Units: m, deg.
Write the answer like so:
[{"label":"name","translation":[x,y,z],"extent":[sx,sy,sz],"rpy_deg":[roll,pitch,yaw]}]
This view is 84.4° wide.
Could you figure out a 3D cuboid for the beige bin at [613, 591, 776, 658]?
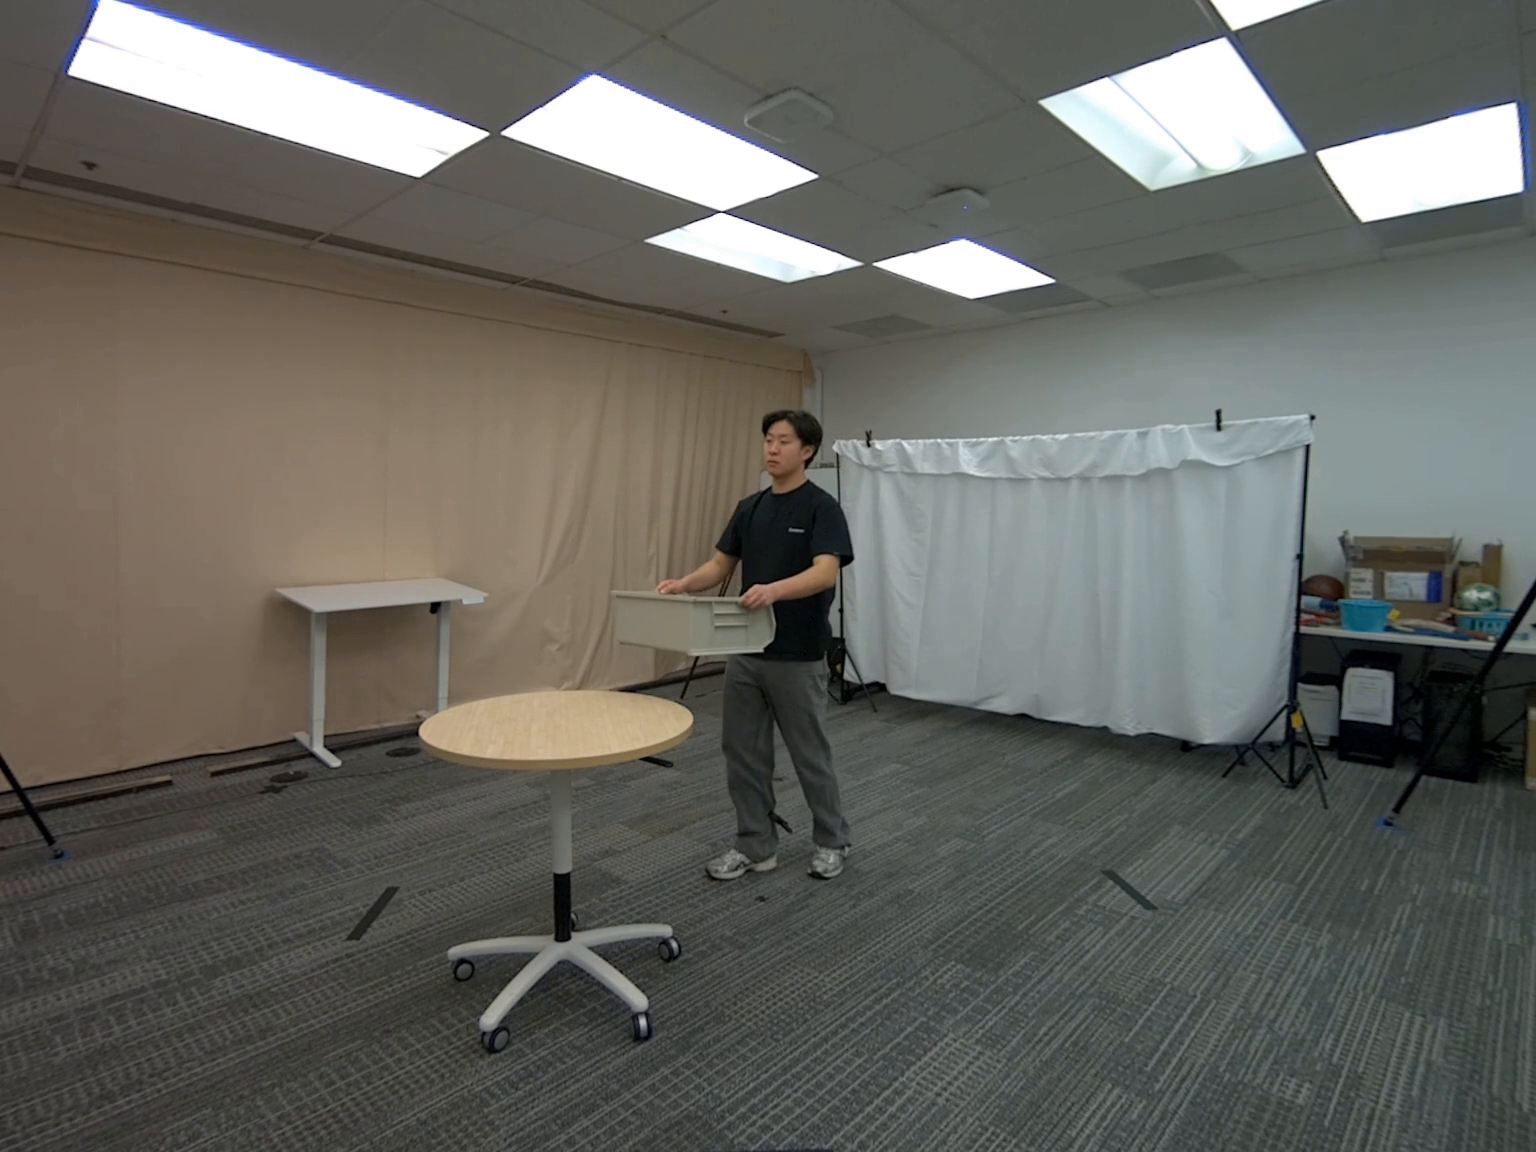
[{"label":"beige bin","translation":[-0.251,0.155,2.830],"extent":[0.365,0.189,0.436],"rpy_deg":[-1,3,-44]}]
